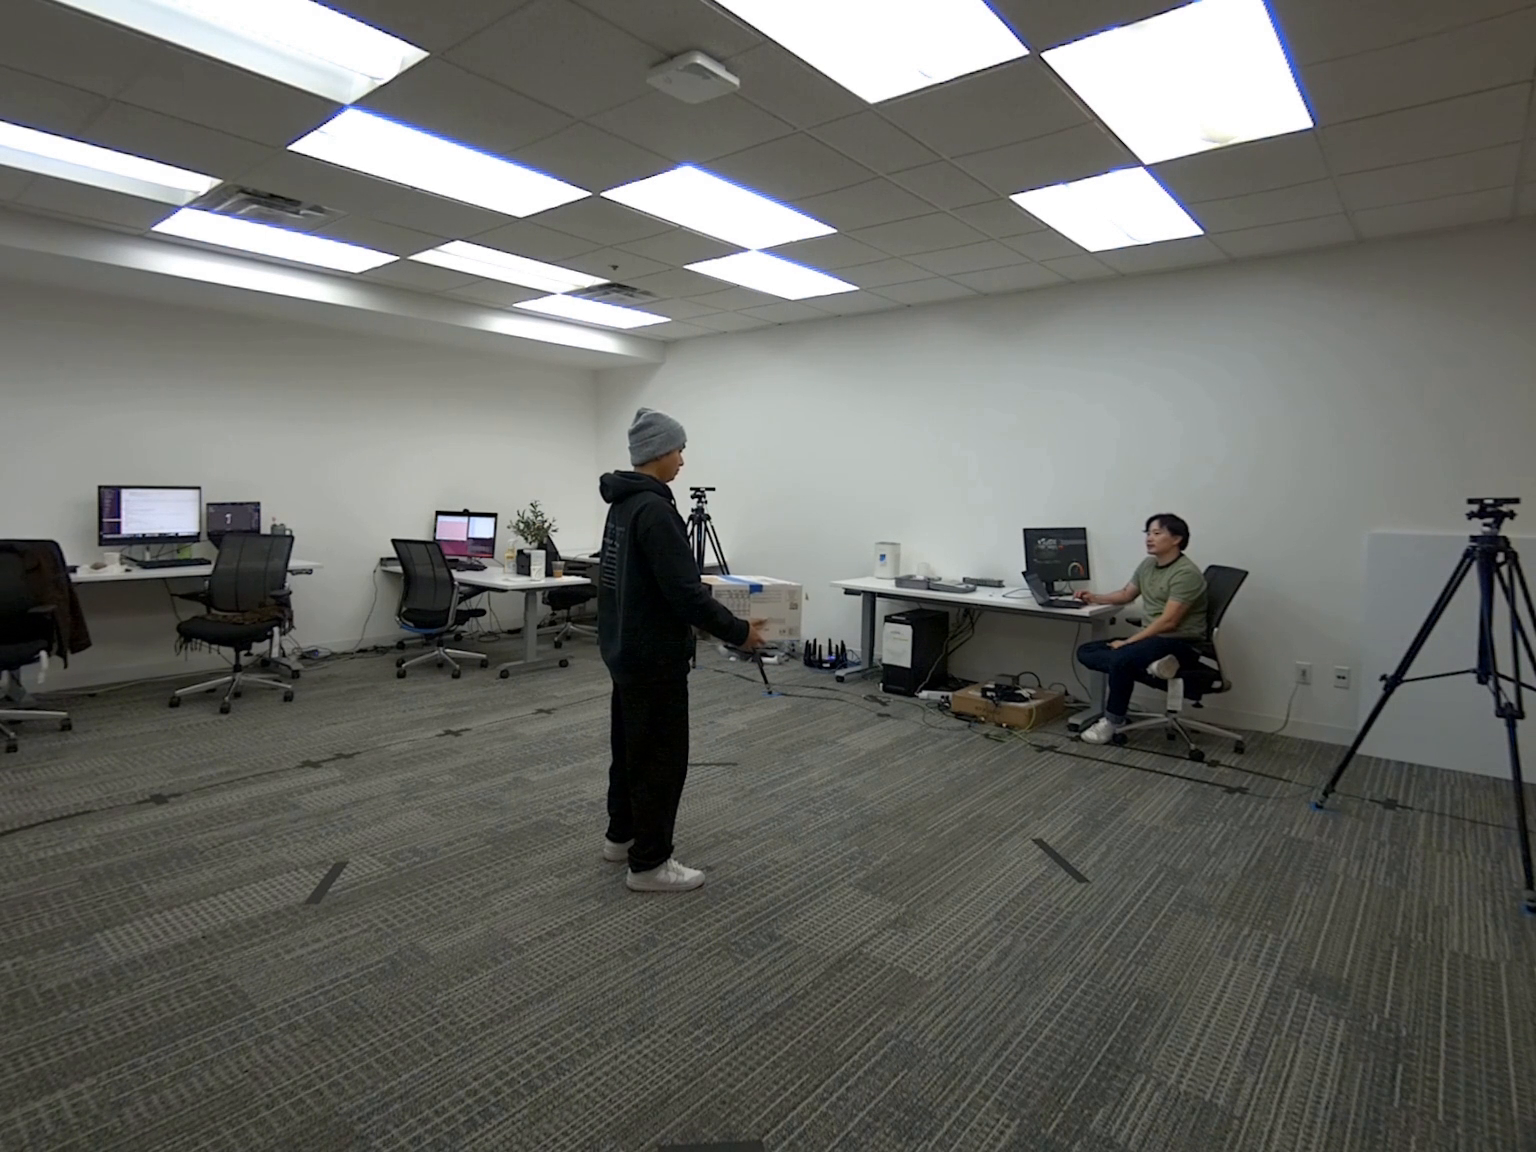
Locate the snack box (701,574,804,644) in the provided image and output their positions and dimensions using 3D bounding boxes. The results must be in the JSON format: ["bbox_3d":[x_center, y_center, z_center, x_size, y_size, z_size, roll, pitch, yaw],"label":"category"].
[{"bbox_3d":[-0.120,0.114,3.159,0.334,0.205,0.414,0,4,-20],"label":"snack box"}]
